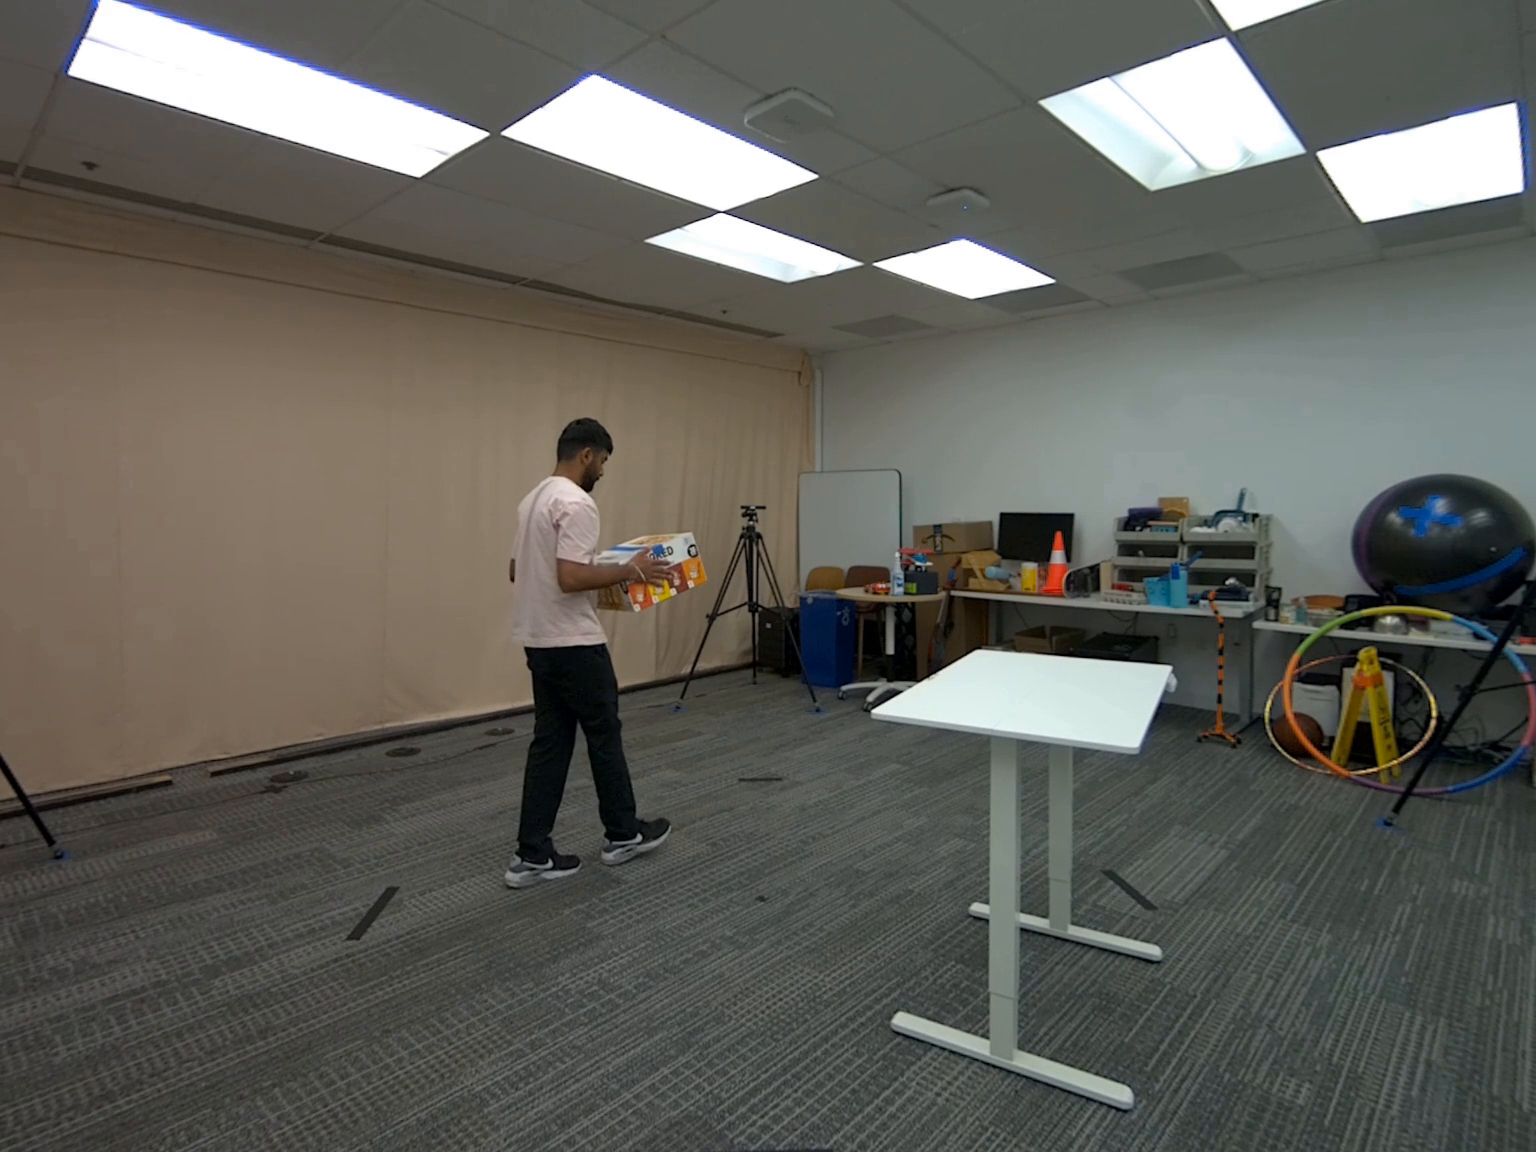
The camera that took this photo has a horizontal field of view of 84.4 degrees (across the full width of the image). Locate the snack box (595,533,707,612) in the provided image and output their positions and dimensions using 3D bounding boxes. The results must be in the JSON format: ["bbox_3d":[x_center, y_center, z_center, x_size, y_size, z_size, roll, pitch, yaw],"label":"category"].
[{"bbox_3d":[-0.512,-0.019,3.353,0.333,0.204,0.417,-24,13,-34],"label":"snack box"}]
